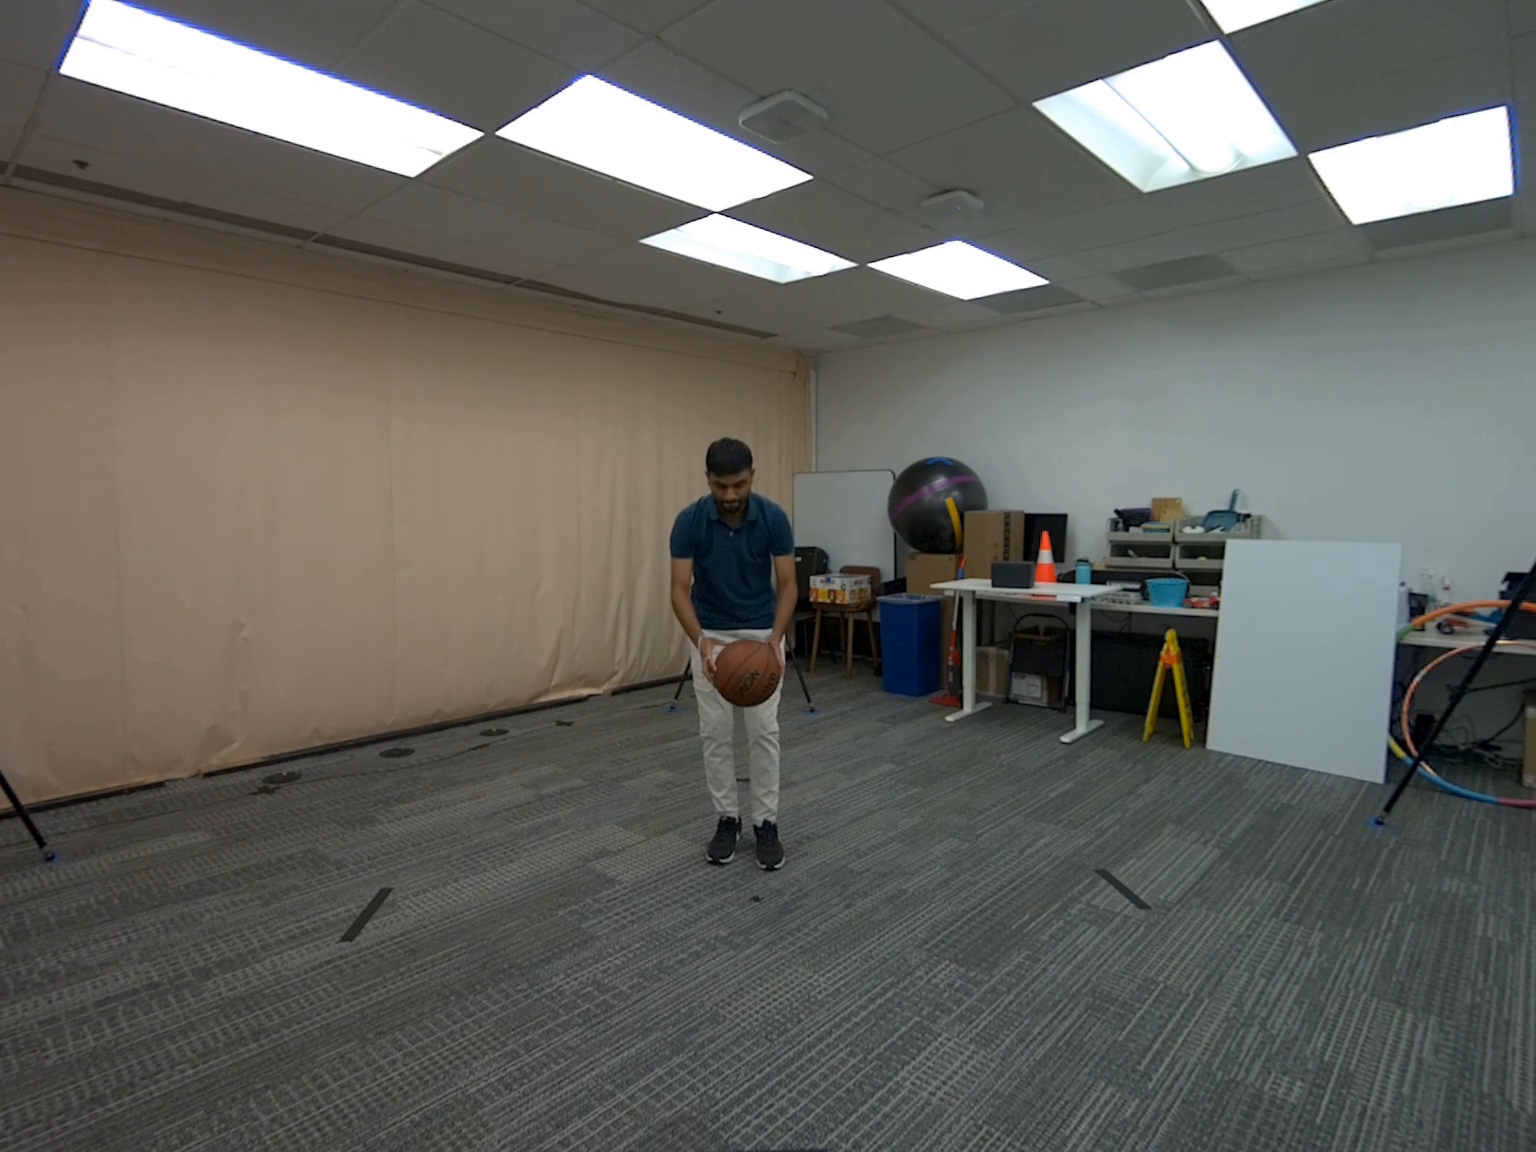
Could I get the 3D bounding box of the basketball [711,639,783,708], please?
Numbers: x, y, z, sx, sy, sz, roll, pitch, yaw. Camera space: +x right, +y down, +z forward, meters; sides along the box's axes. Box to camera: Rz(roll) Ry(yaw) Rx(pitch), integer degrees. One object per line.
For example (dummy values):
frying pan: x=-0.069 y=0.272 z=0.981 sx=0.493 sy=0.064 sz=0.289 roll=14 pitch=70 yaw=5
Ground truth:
basketball: x=-0.074 y=0.346 z=2.972 sx=0.236 sy=0.235 sz=0.237 roll=0 pitch=4 yaw=-2
